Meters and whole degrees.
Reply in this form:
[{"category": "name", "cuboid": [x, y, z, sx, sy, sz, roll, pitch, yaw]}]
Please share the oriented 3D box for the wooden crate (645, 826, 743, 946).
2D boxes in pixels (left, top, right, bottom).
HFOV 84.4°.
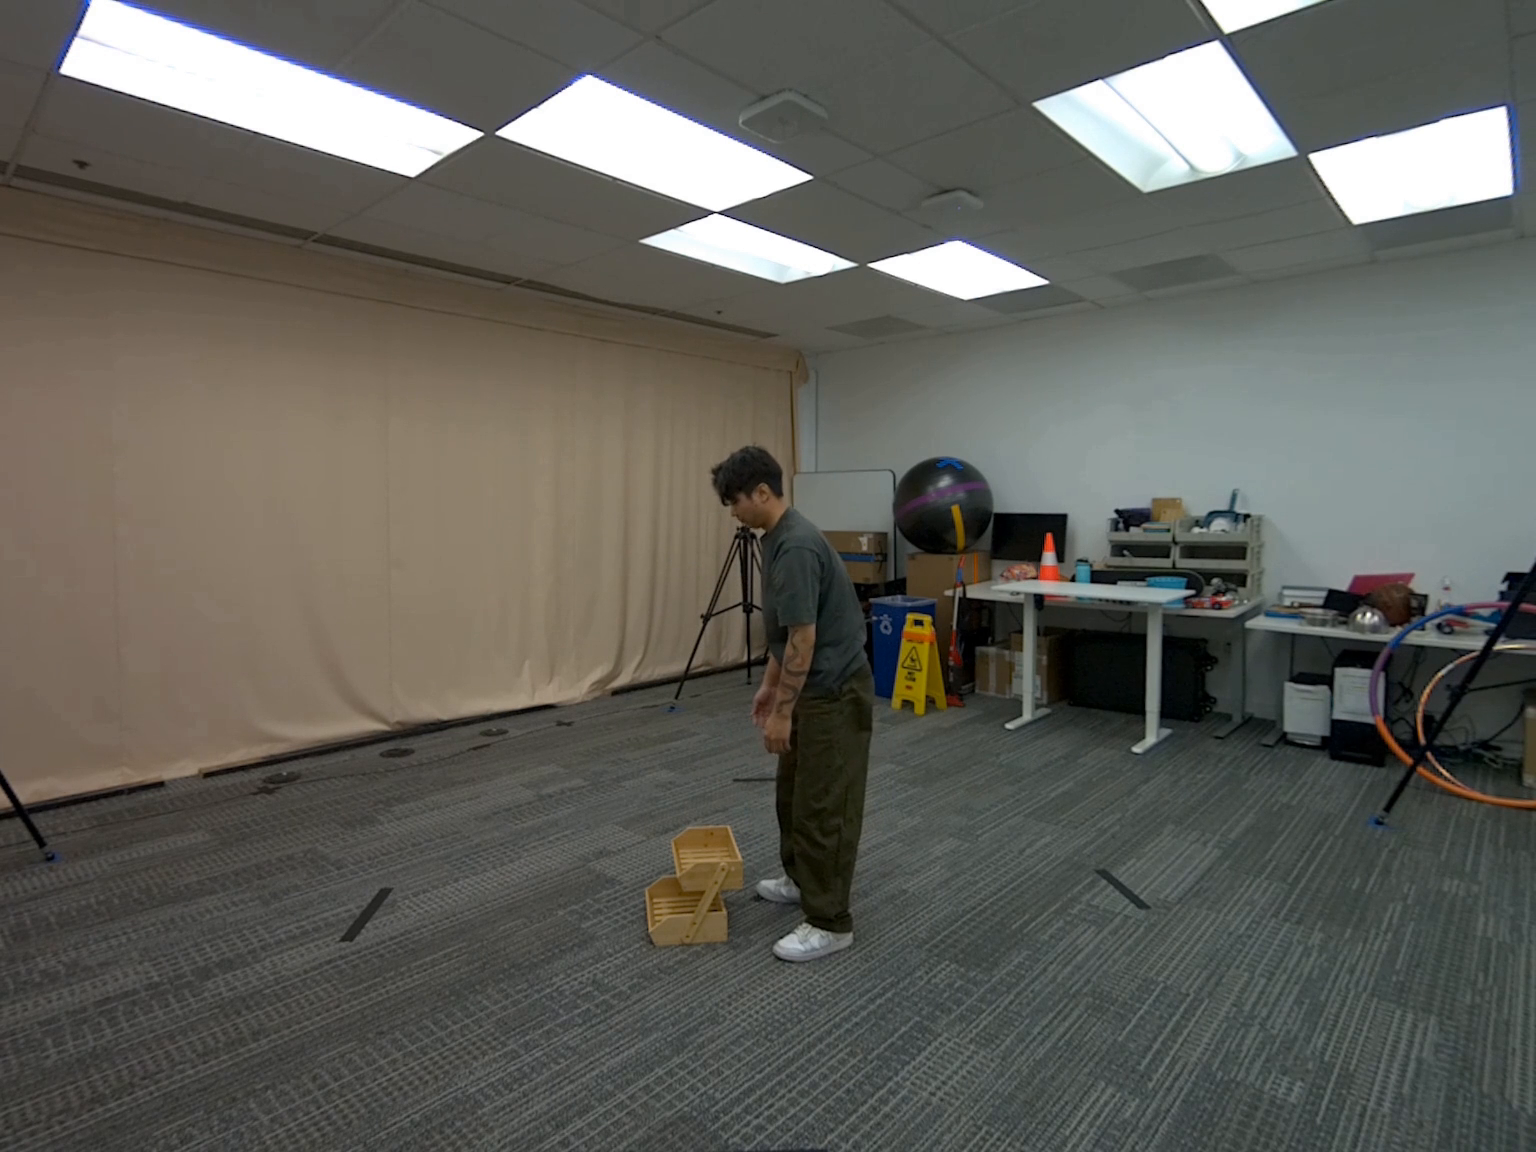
[{"category": "wooden crate", "cuboid": [-0.262, 1.030, 2.826, 0.299, 0.273, 0.328, -1, 4, -9]}]
